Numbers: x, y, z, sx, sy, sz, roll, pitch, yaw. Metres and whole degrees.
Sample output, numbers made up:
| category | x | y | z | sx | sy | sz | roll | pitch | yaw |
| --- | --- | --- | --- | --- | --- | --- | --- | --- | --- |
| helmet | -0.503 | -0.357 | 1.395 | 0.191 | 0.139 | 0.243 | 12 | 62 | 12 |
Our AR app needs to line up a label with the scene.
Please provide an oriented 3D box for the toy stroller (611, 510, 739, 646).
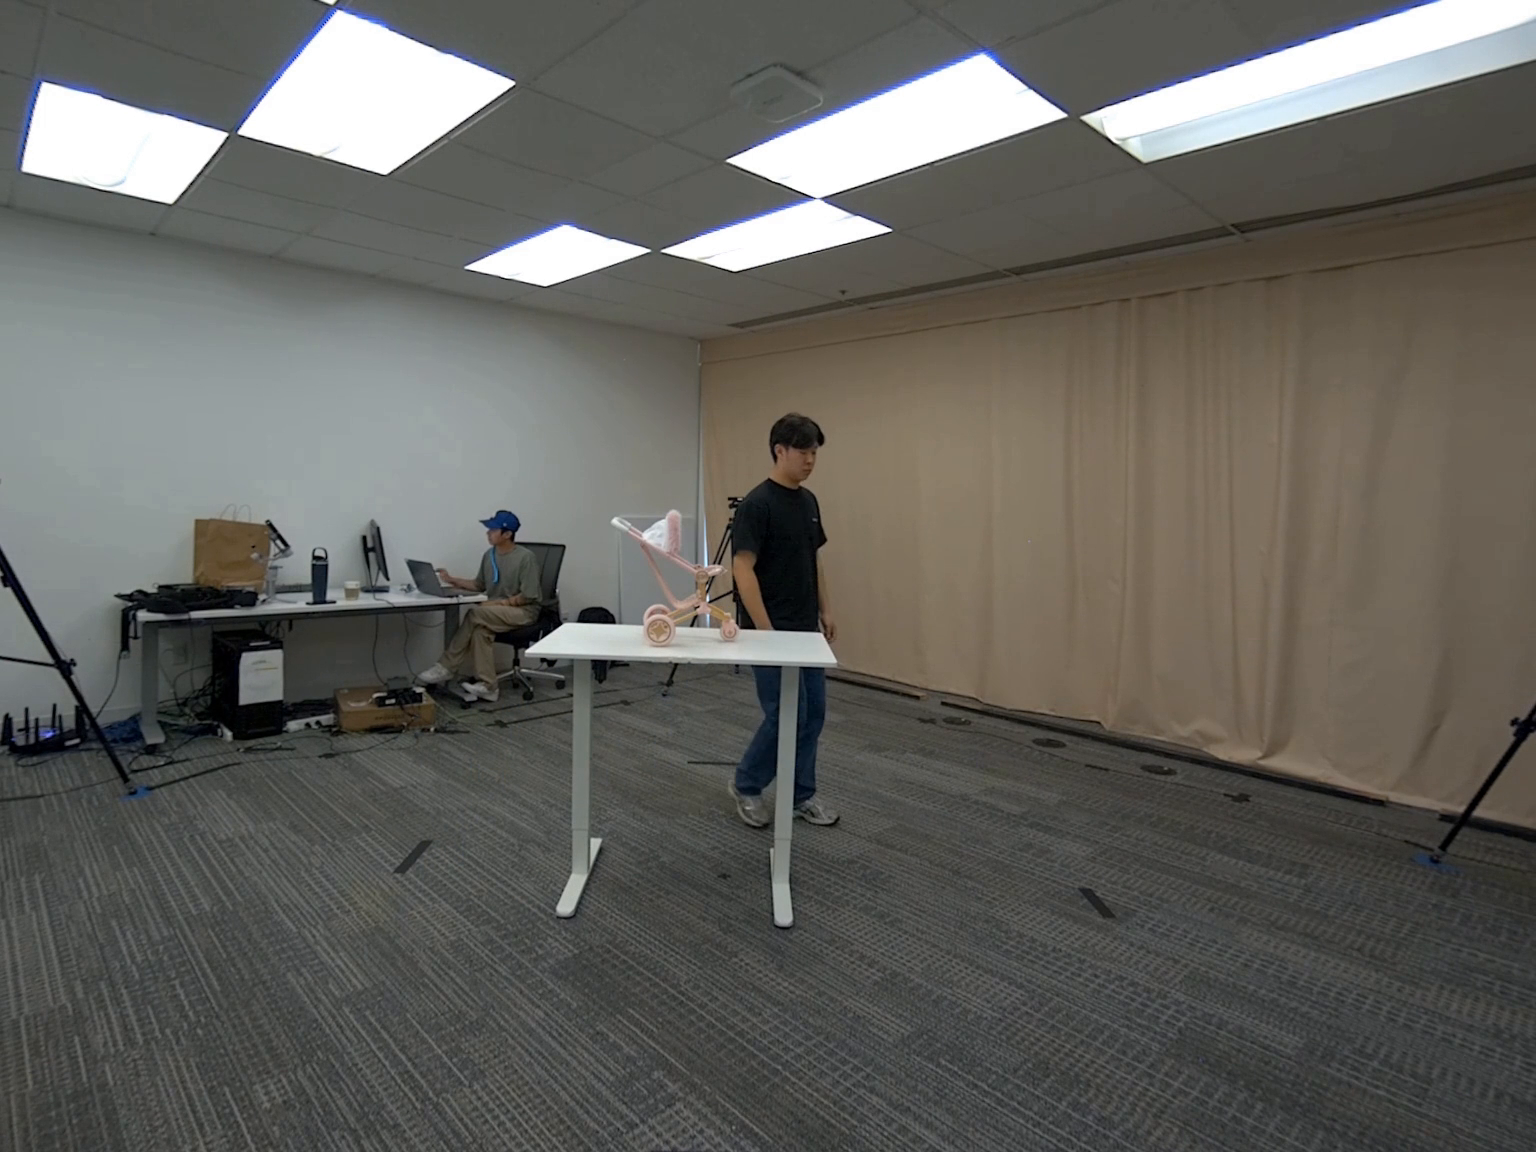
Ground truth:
| category | x | y | z | sx | sy | sz | roll | pitch | yaw |
| --- | --- | --- | --- | --- | --- | --- | --- | --- | --- |
| toy stroller | -0.324 | 0.010 | 2.968 | 0.341 | 0.533 | 0.283 | -14 | 5 | -1 |
